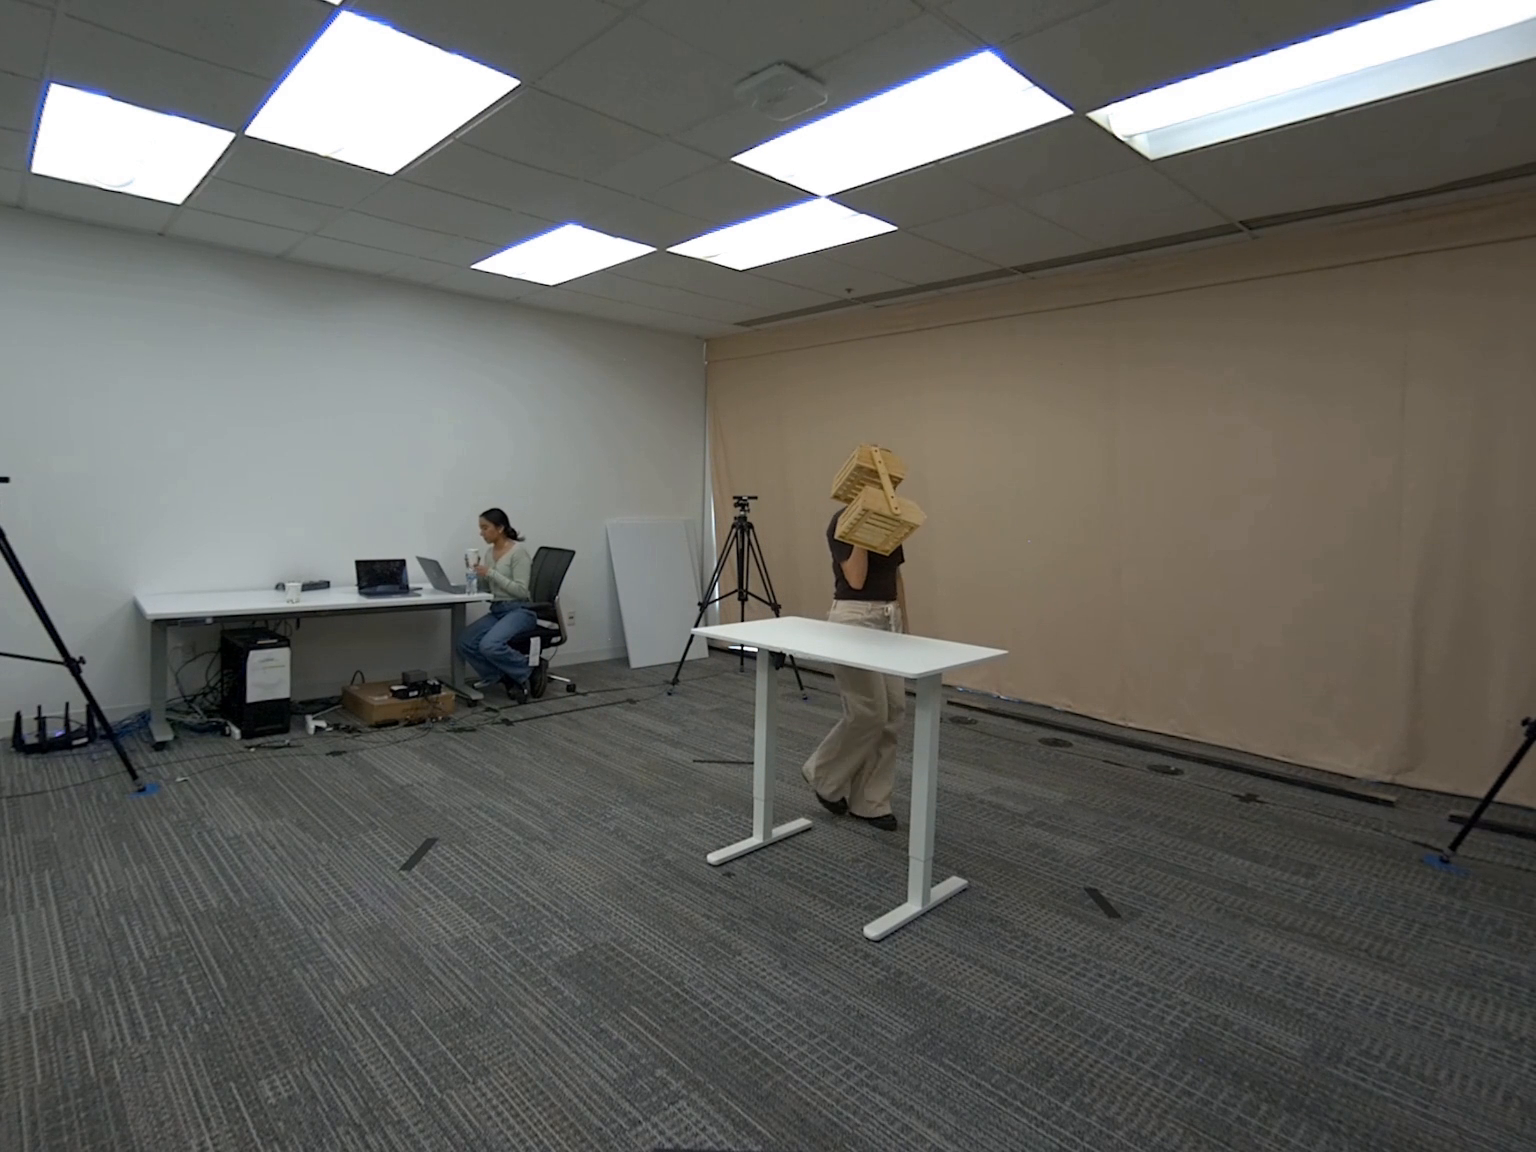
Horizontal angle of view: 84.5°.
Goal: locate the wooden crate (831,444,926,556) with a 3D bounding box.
[{"bbox_3d":[0.417,-0.289,3.246,0.300,0.276,0.323,18,-25,-8],"label":"wooden crate"}]
